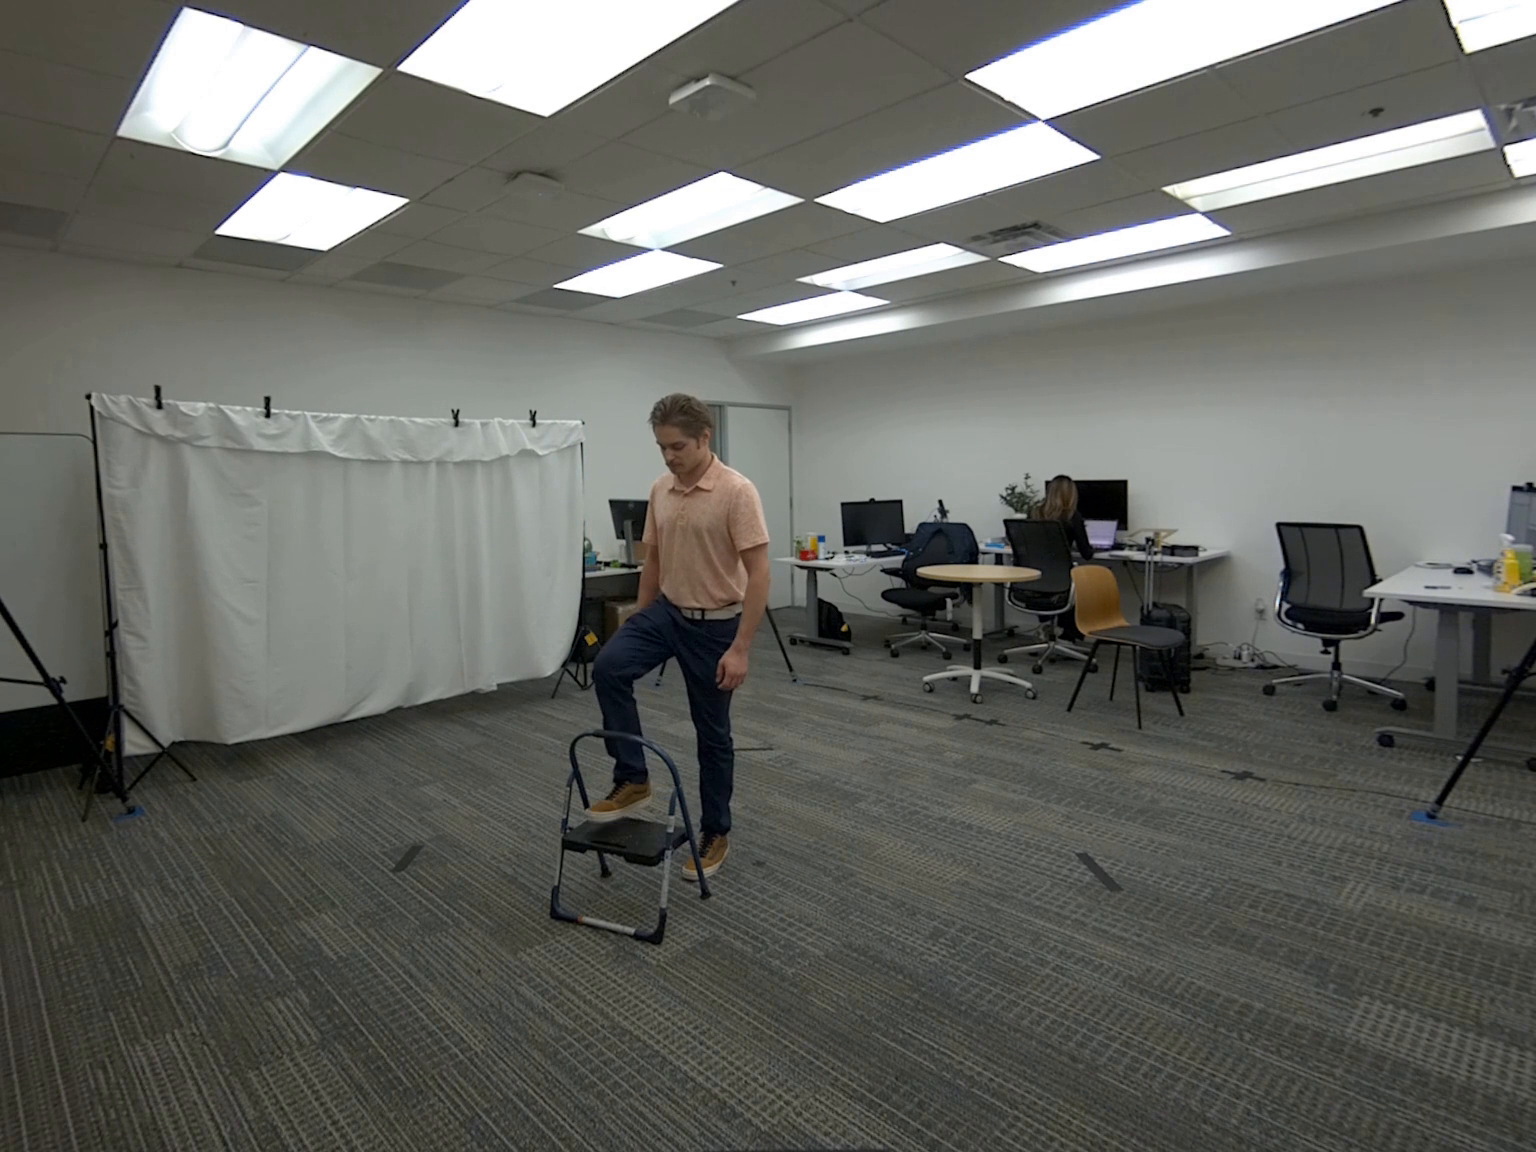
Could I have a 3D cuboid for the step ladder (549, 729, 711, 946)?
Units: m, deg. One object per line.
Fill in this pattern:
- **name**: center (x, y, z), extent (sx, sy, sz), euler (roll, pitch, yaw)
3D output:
- **step ladder**: center (-0.456, 0.789, 2.792), extent (0.440, 0.603, 0.343), euler (1, 5, 24)
